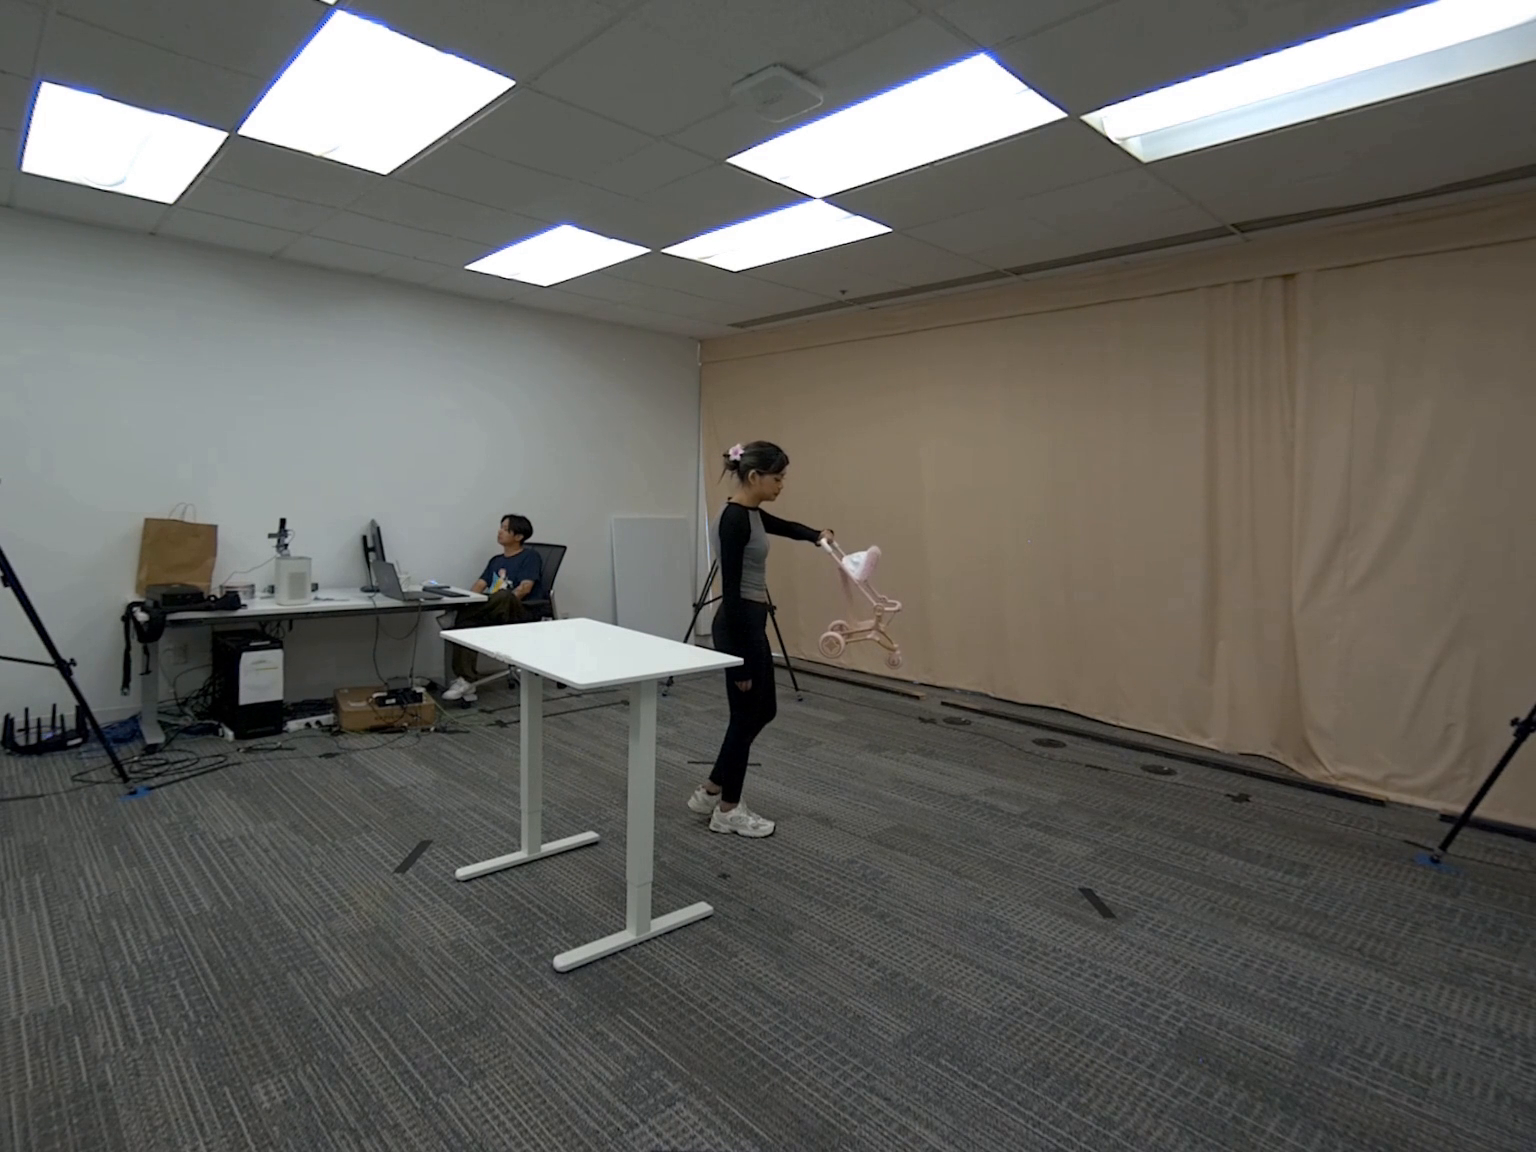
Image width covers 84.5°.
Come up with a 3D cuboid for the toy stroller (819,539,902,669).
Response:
[{"bbox_3d":[0.386,0.114,3.468,0.347,0.532,0.278,3,7,19],"label":"toy stroller"}]
